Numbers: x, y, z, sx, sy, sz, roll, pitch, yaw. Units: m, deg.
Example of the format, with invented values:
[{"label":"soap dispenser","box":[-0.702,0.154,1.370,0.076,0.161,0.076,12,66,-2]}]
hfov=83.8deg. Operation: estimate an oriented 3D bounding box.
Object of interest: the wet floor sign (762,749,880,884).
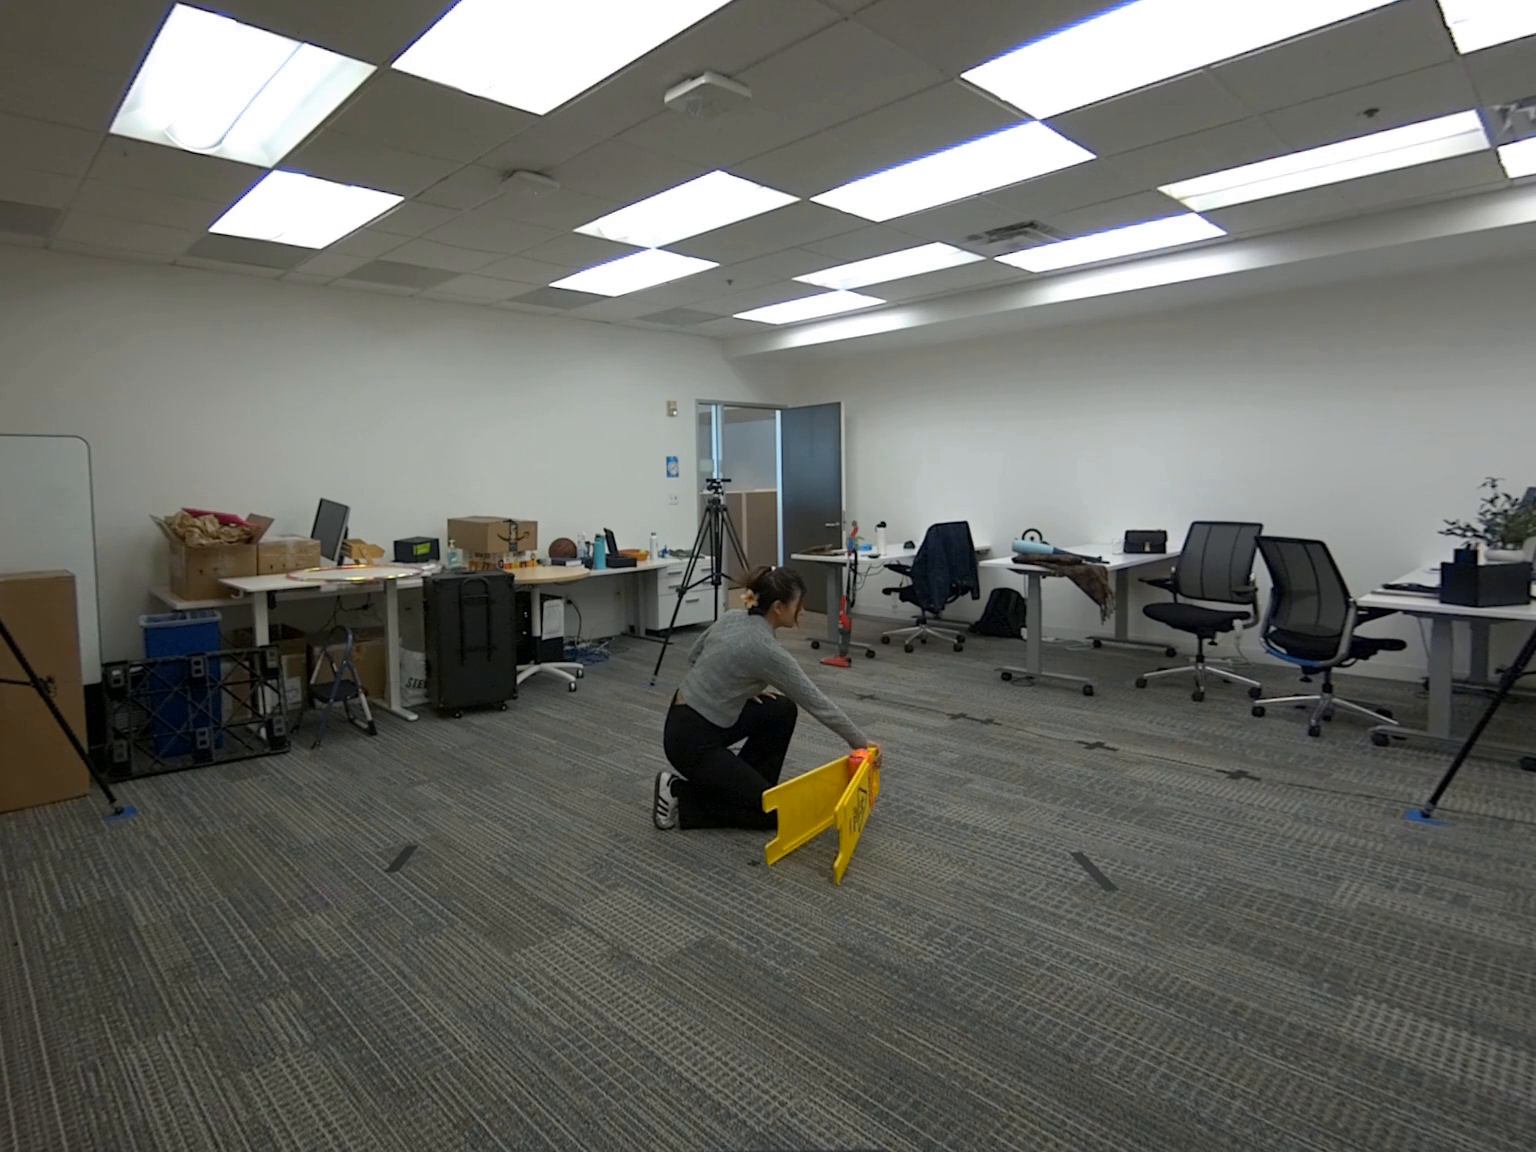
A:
[{"label":"wet floor sign","box":[0.279,0.855,3.233,0.298,0.280,0.634,3,13,33]}]
